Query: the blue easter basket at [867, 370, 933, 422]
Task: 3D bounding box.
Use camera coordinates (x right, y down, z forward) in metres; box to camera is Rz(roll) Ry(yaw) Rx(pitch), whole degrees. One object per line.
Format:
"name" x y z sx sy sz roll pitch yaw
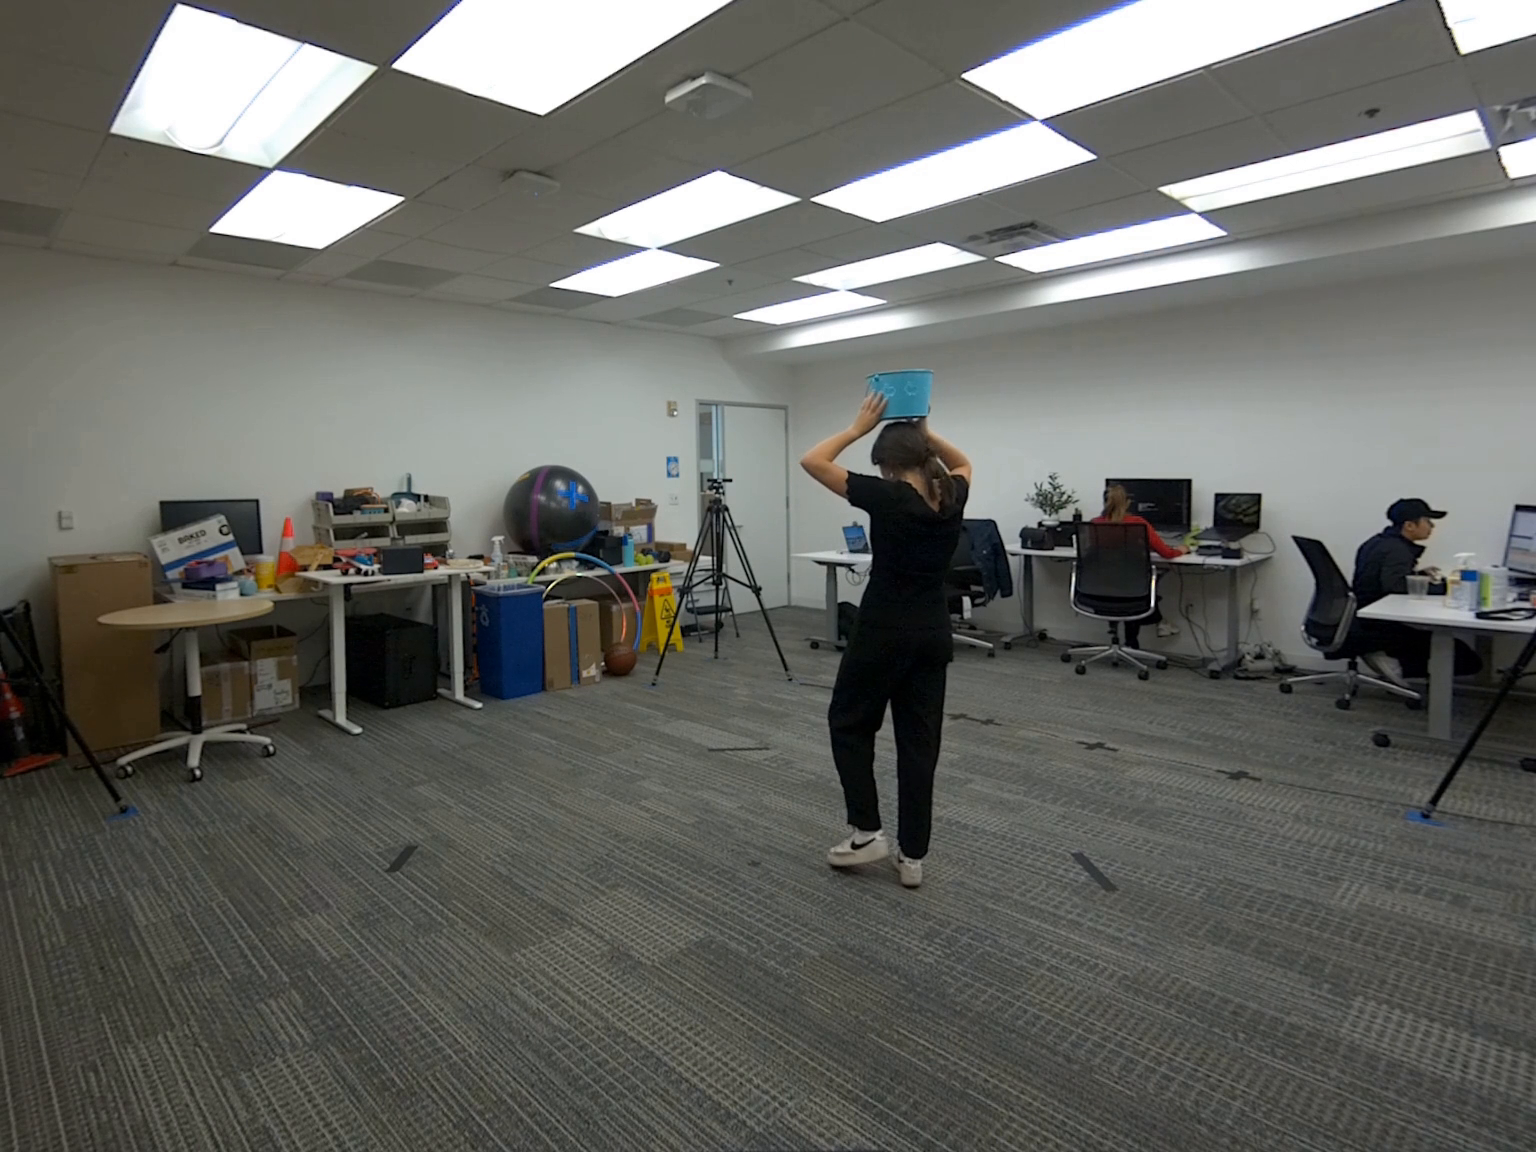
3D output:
"blue easter basket" 0.476 -0.632 2.999 0.243 0.155 0.245 -3 8 -1
